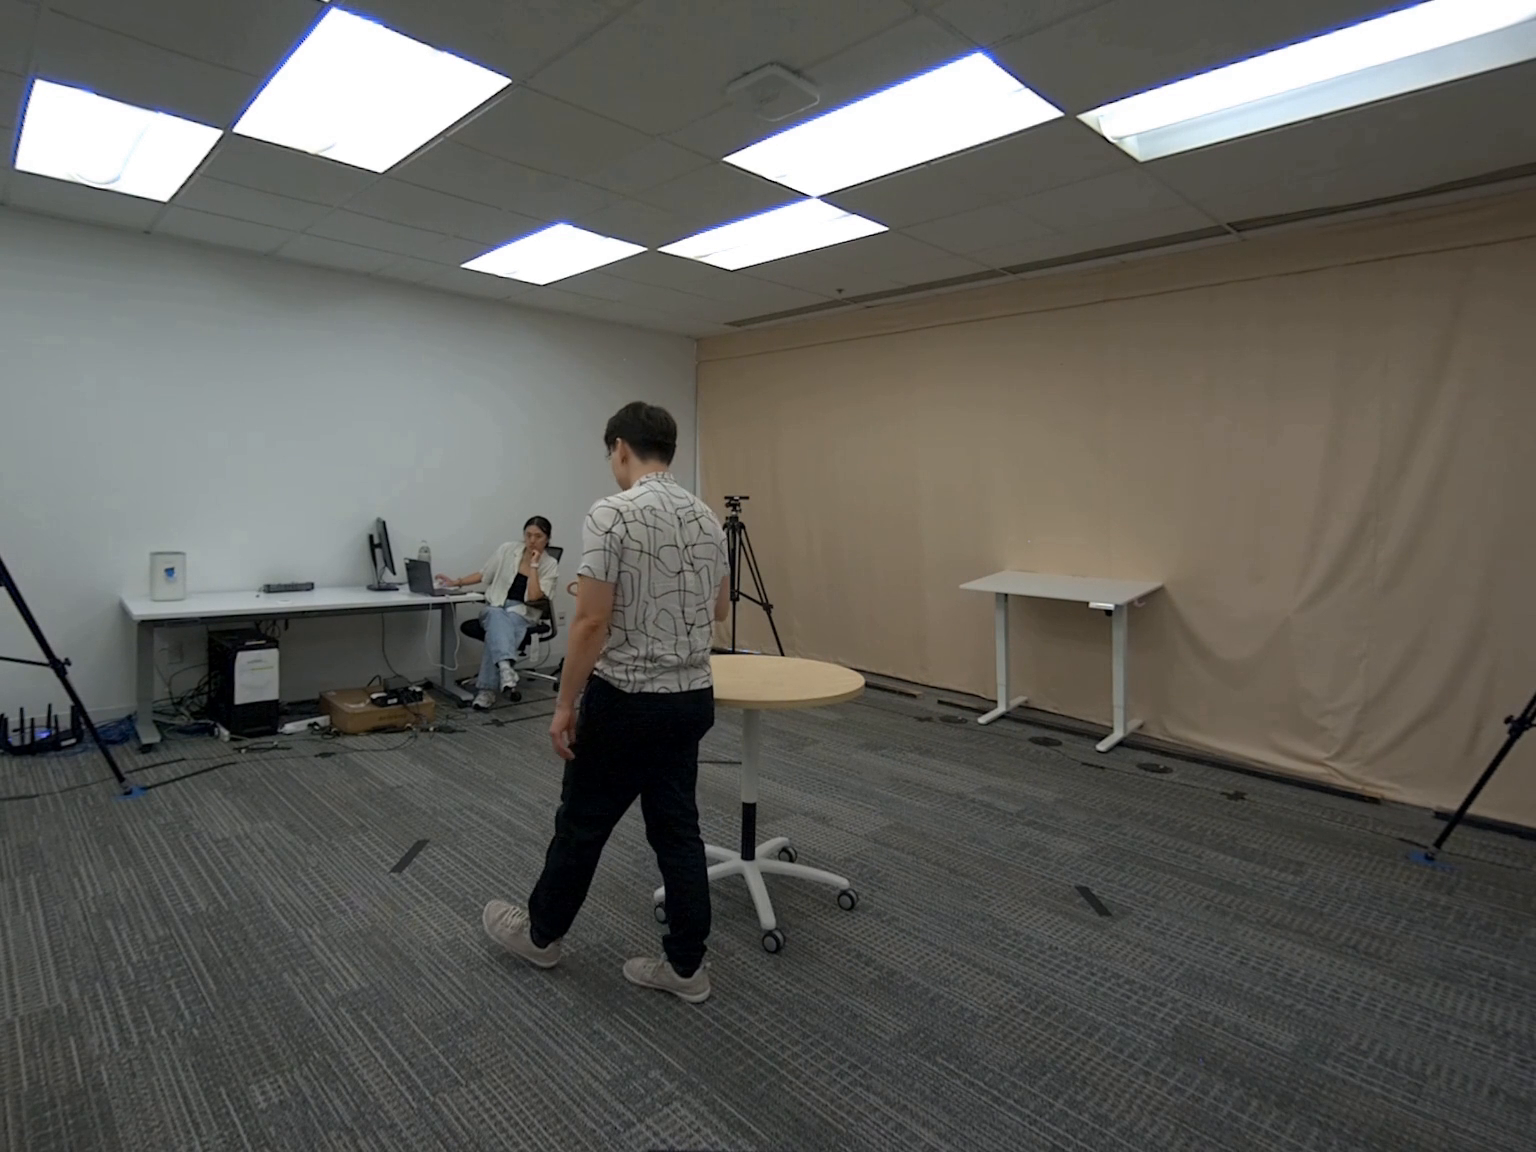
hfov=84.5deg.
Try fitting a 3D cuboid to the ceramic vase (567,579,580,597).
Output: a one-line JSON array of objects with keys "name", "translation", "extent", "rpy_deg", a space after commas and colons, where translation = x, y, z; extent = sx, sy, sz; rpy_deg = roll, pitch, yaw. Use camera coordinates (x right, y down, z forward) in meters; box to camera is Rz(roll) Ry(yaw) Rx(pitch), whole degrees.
[{"name": "ceramic vase", "translation": [-0.549, 0.105, 2.650], "extent": [0.162, 0.219, 0.131], "rpy_deg": [5, 2, 32]}]
